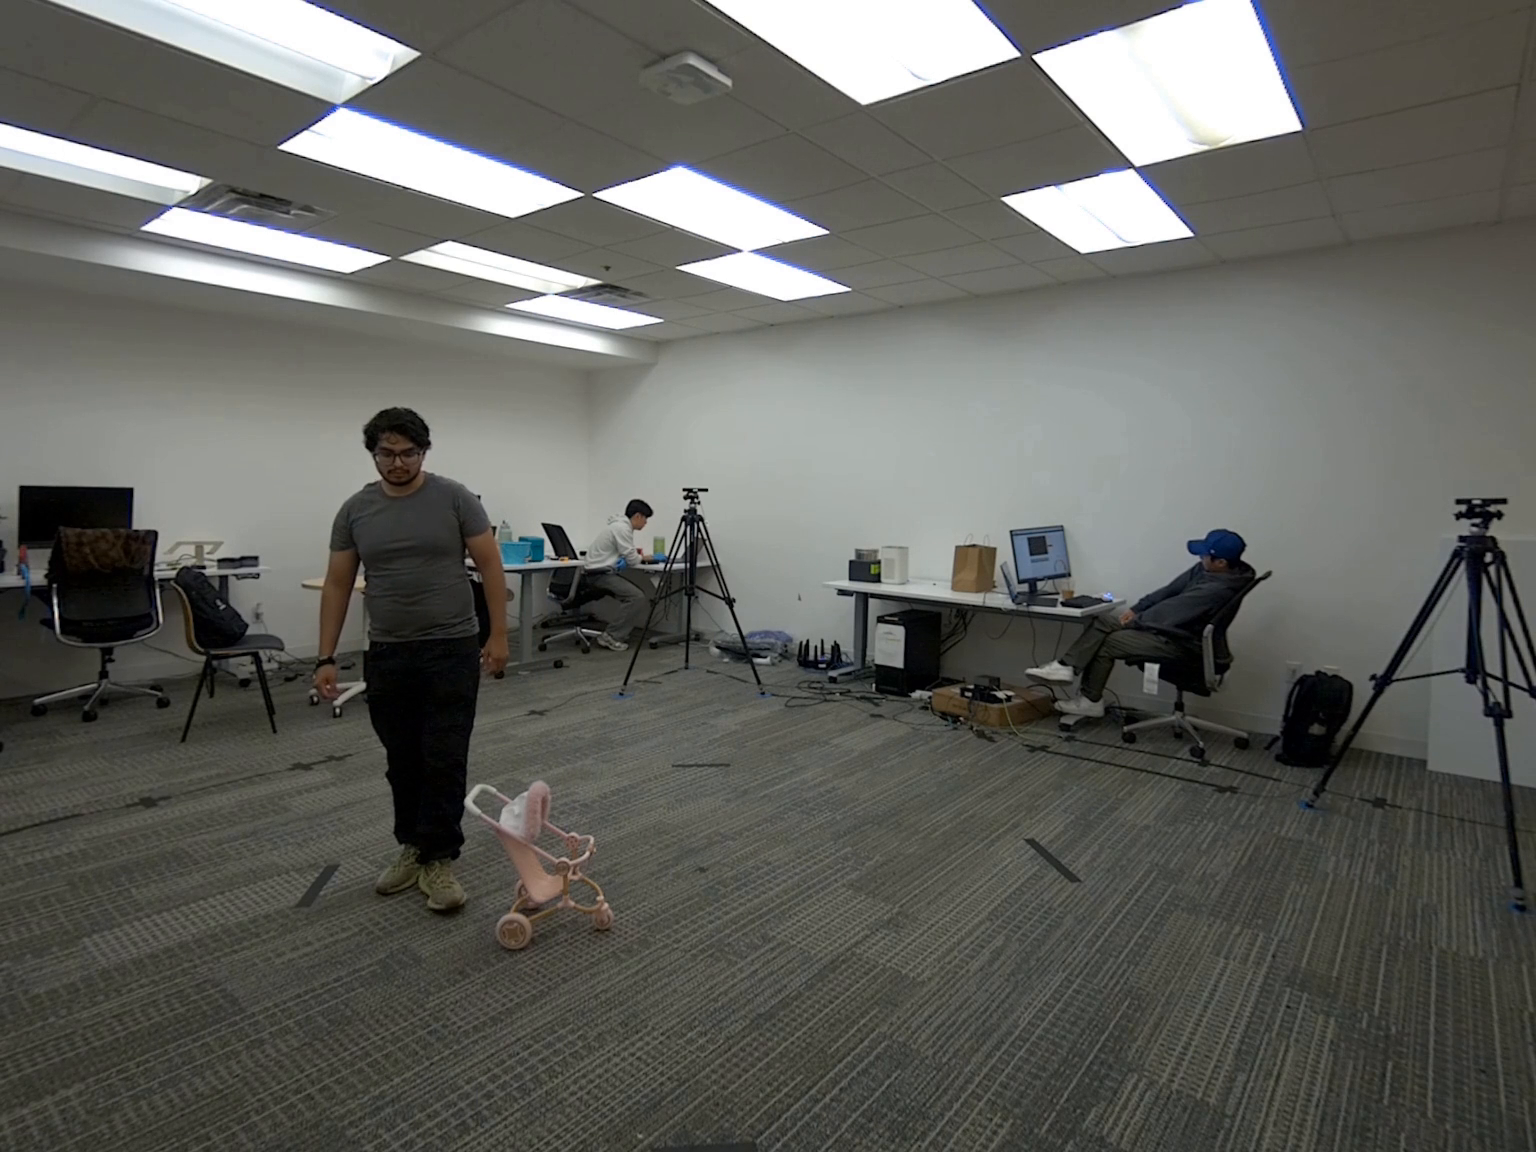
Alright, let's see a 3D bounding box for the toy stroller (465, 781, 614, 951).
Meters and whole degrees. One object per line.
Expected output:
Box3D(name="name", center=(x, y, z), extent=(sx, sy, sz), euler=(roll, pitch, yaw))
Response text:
Box3D(name="toy stroller", center=(-0.710, 0.883, 2.657), extent=(0.342, 0.534, 0.281), euler=(-15, 3, 3))
